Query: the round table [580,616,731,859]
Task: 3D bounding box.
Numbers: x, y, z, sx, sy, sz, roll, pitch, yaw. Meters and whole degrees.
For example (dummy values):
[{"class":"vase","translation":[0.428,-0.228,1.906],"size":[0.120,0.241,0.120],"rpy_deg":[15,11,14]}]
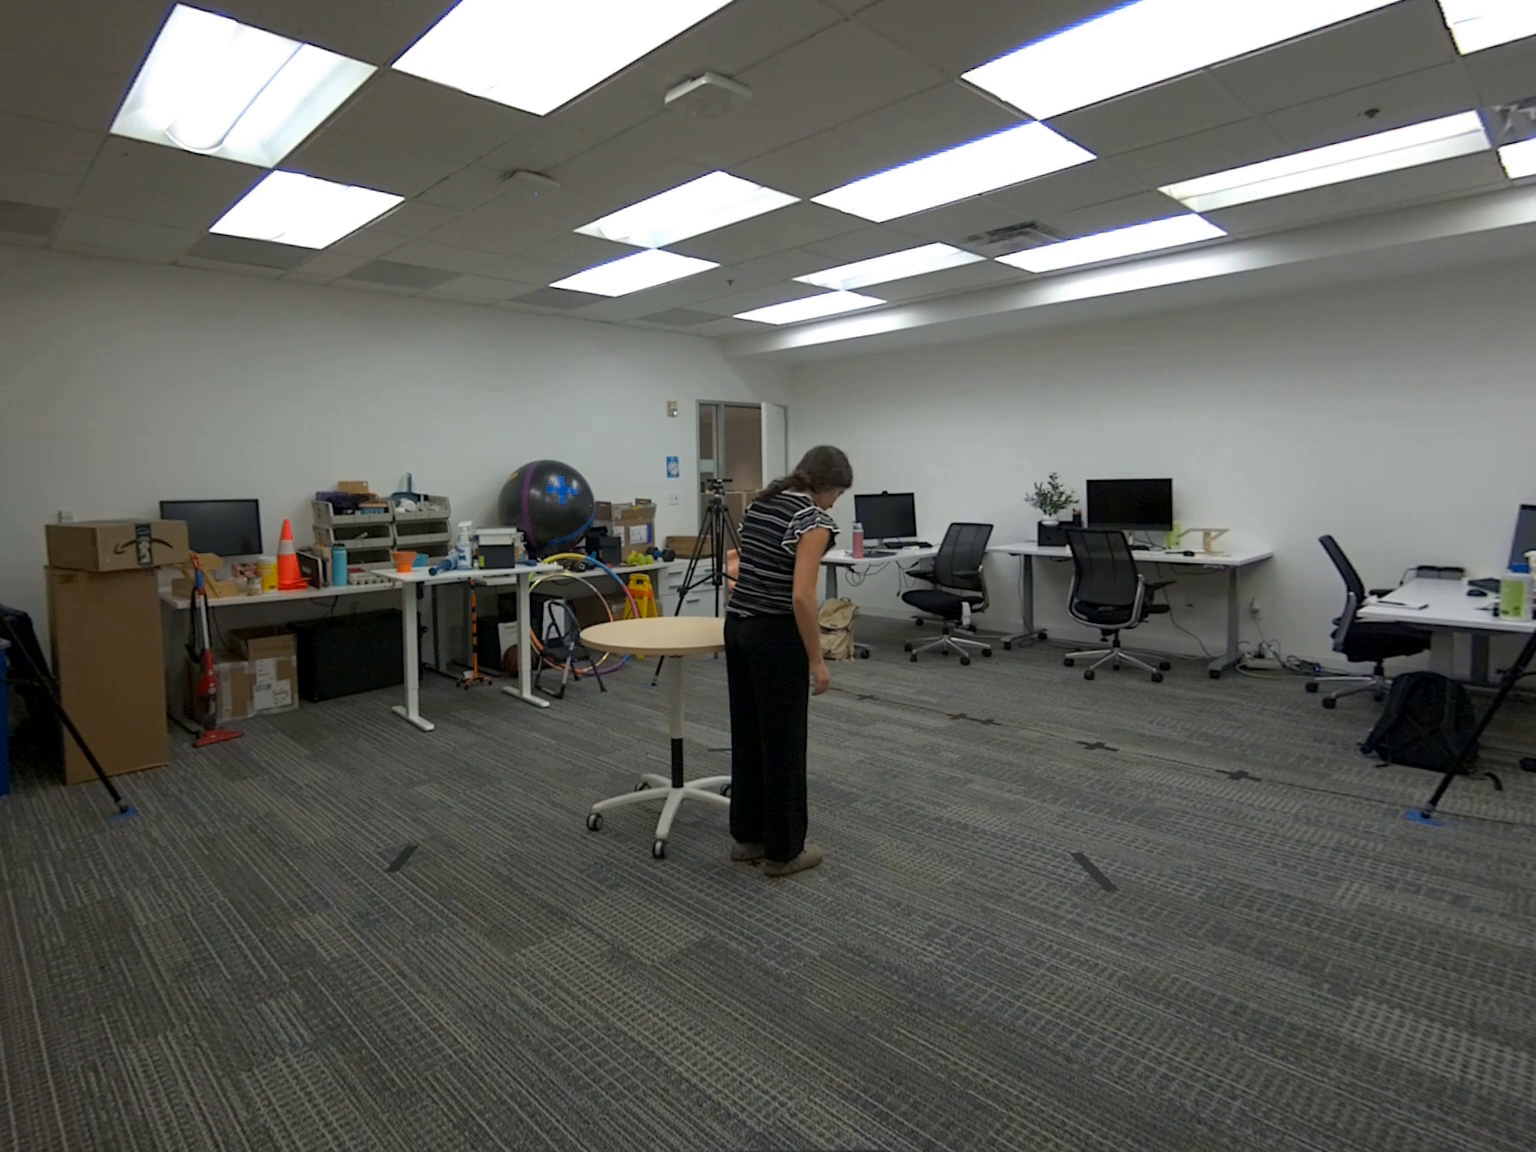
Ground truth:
[{"class":"round table","translation":[-0.366,0.615,3.486],"size":[0.784,0.784,0.788],"rpy_deg":[-1,4,-2]}]
